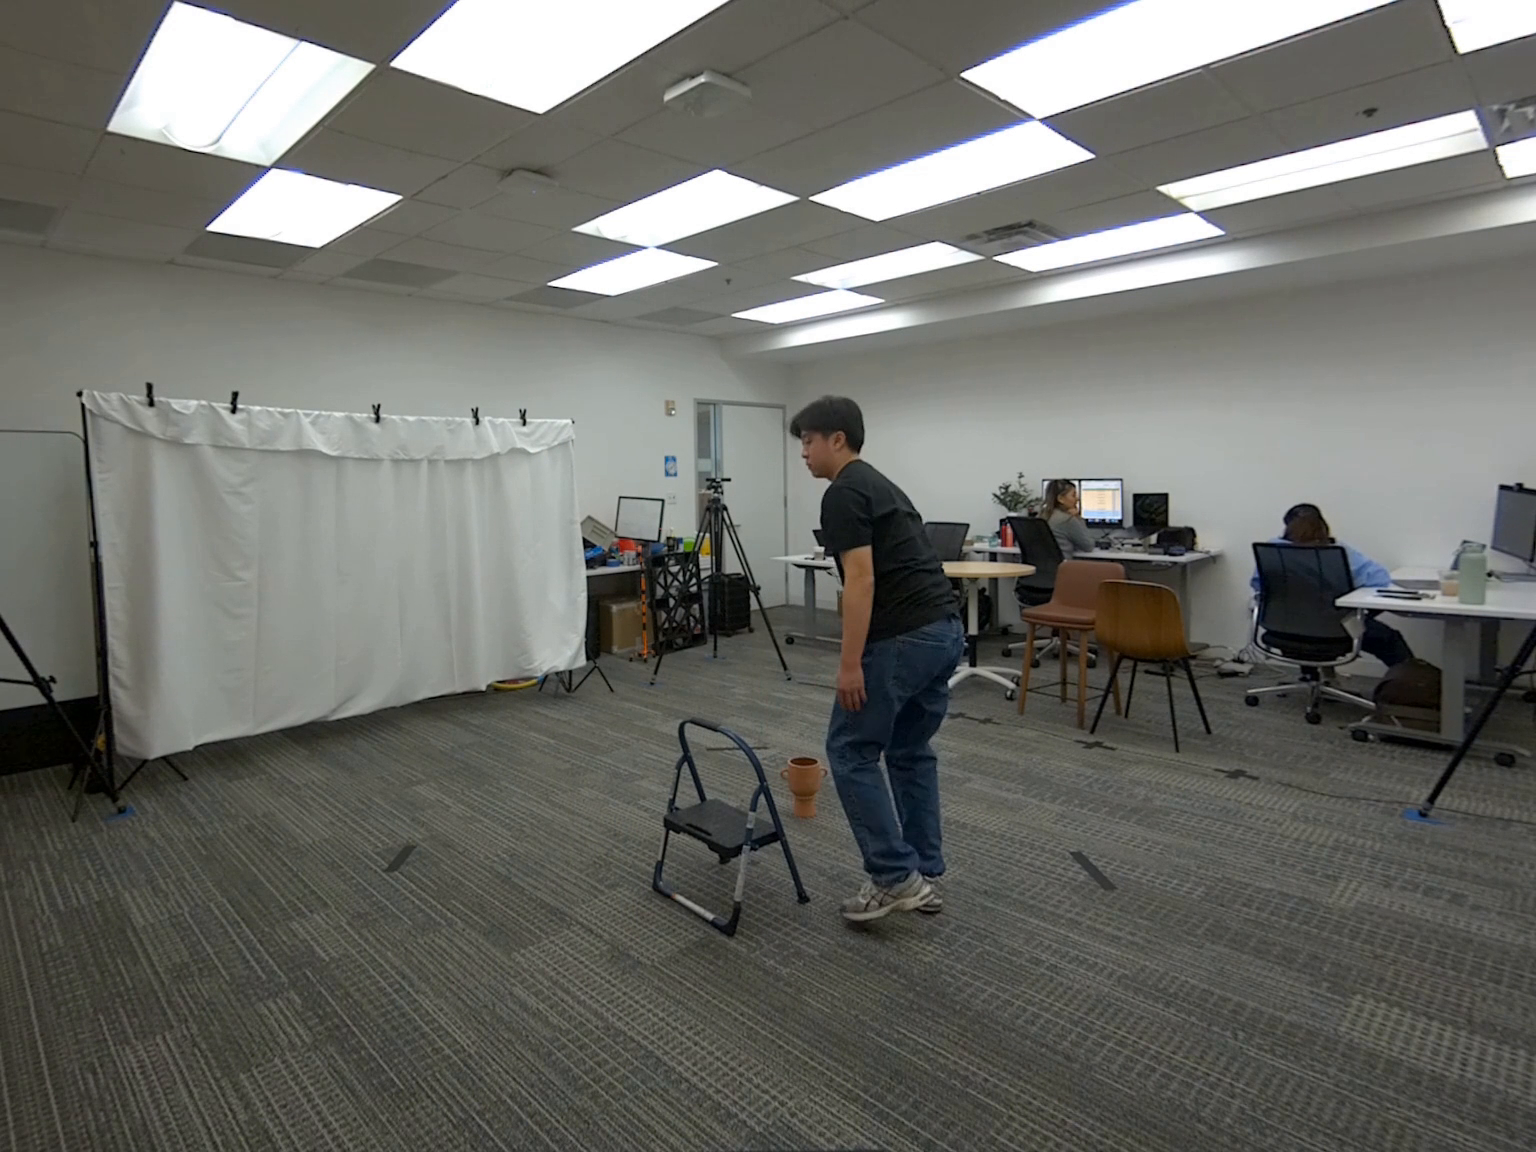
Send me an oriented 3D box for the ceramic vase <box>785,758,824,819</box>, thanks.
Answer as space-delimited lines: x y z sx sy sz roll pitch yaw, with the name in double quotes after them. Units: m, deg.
0.153 0.874 3.544 0.163 0.219 0.131 3 6 34 "ceramic vase"
